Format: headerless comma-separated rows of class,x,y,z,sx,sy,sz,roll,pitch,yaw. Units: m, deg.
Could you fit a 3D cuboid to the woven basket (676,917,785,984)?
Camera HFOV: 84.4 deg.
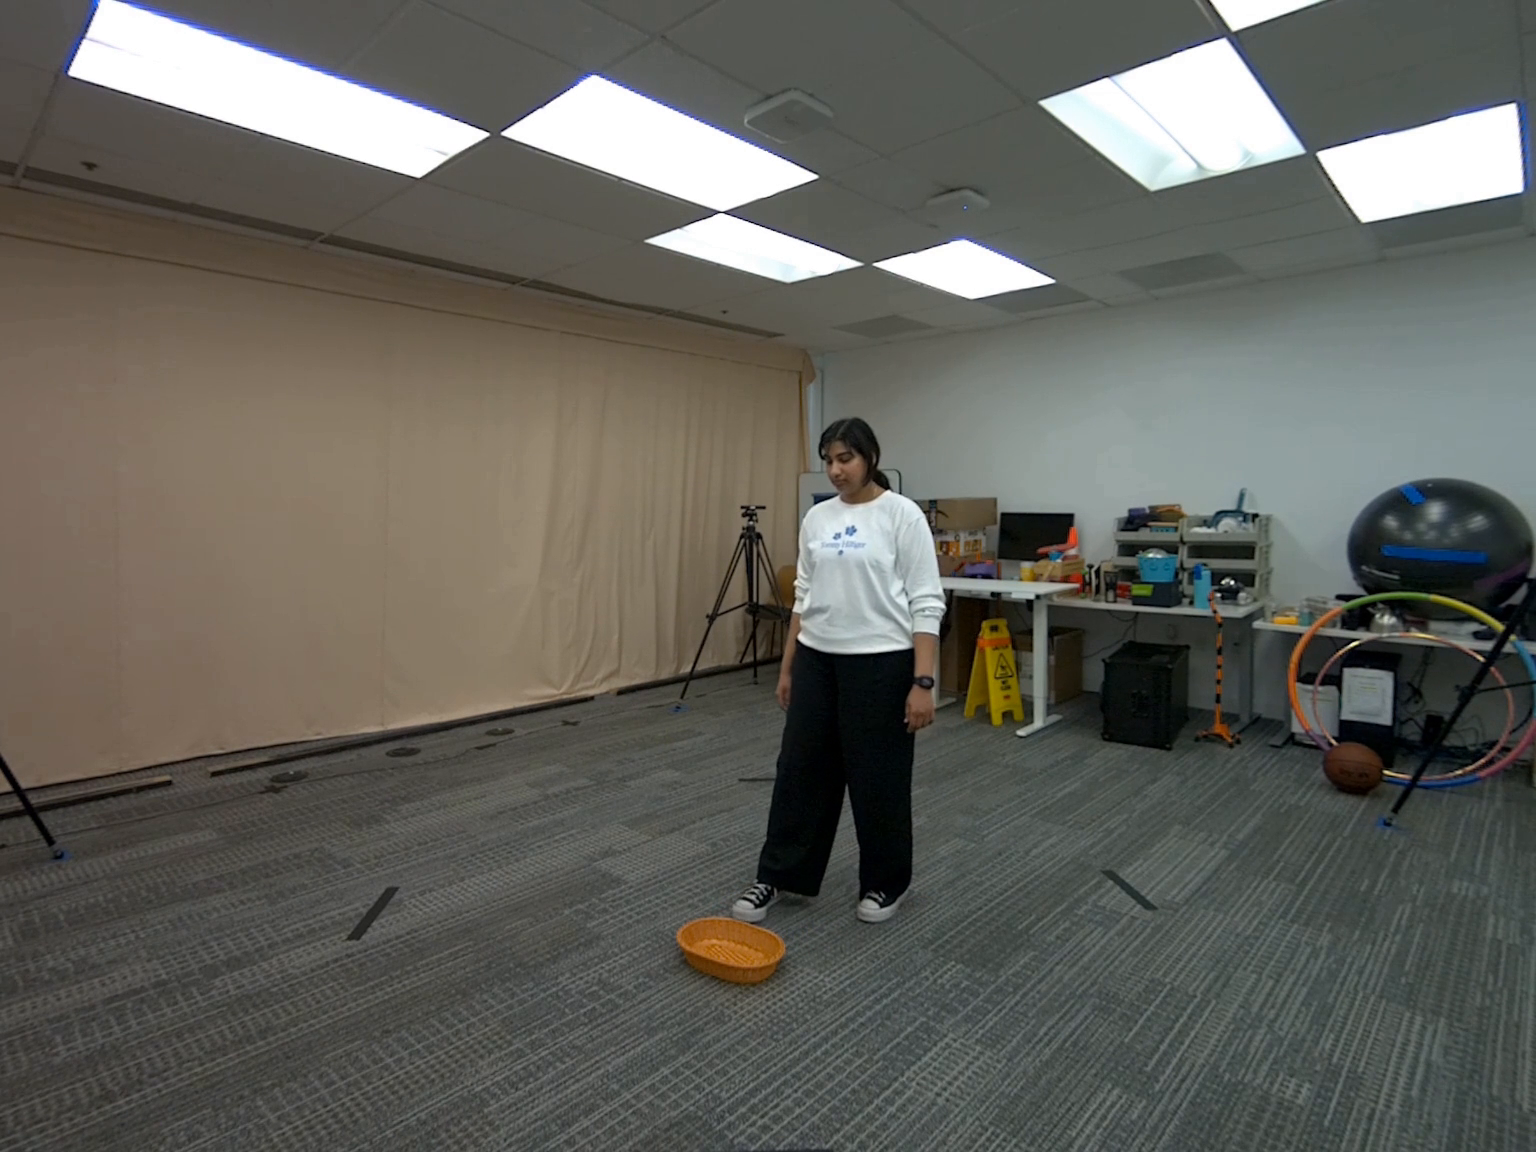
woven basket,-0.110,1.136,2.565,0.361,0.073,0.245,2,4,34
